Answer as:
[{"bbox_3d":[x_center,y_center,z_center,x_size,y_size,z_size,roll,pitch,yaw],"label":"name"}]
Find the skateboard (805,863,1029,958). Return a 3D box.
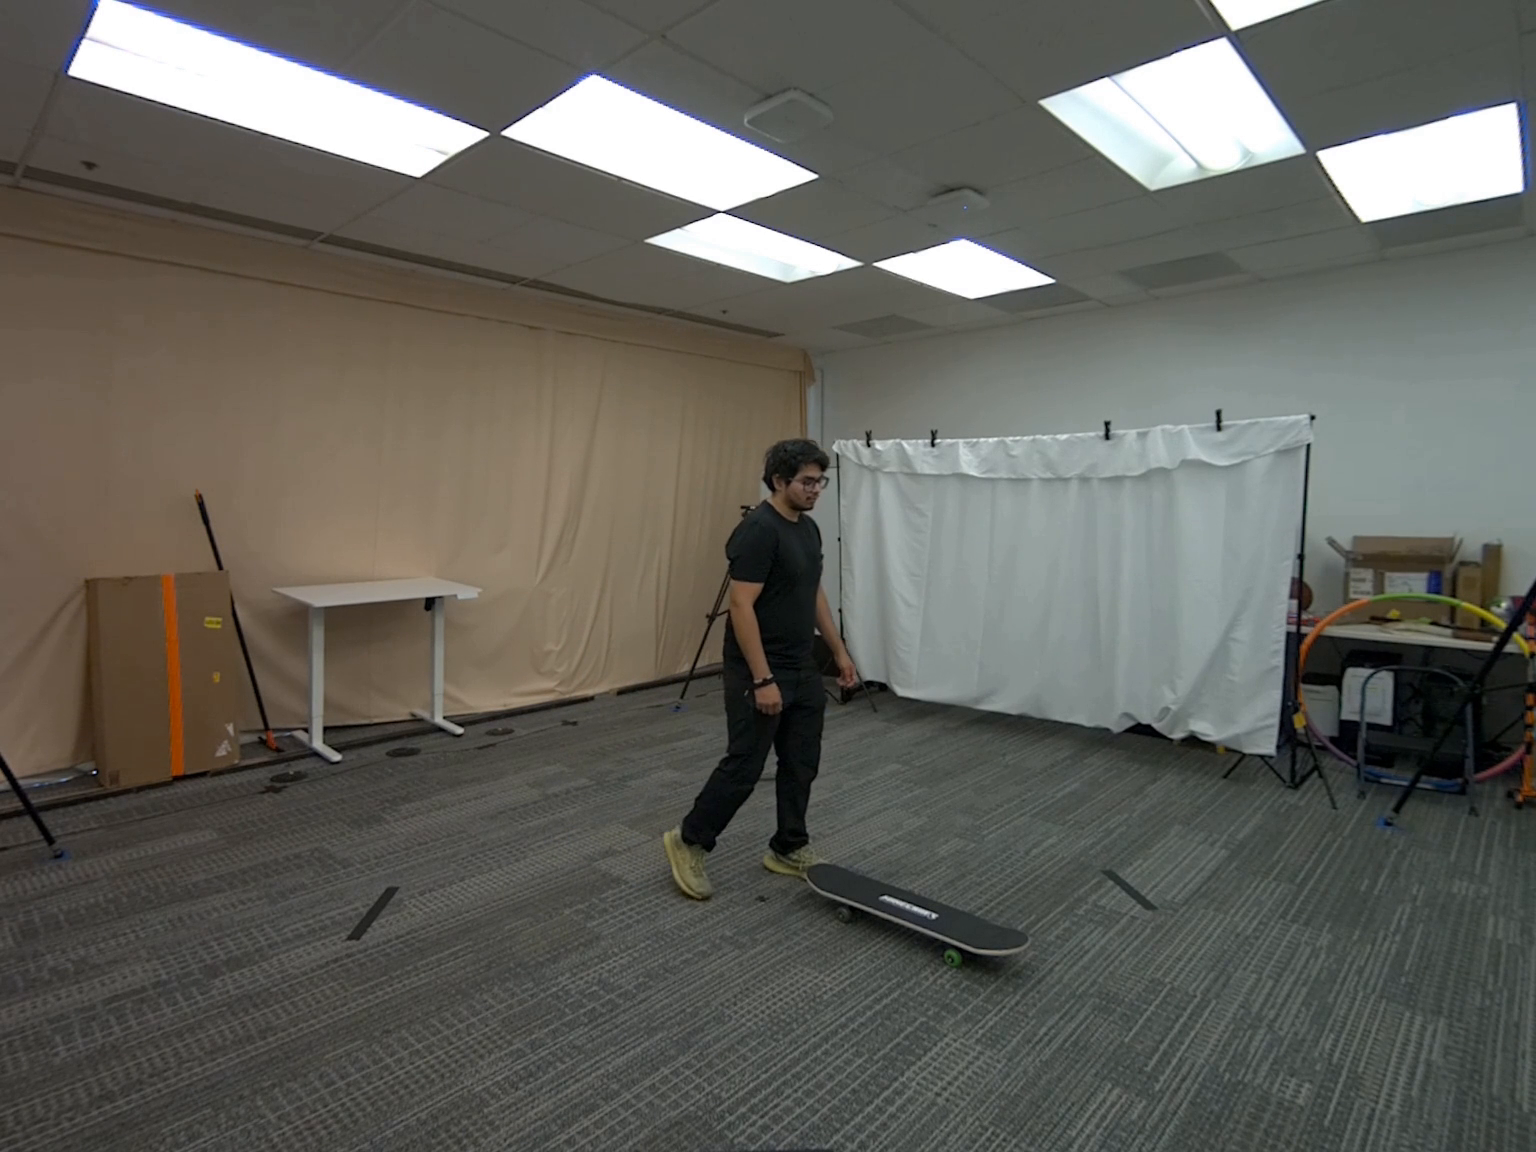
[{"bbox_3d":[0.461,1.107,2.733,0.812,0.110,0.187,4,6,41],"label":"skateboard"}]
